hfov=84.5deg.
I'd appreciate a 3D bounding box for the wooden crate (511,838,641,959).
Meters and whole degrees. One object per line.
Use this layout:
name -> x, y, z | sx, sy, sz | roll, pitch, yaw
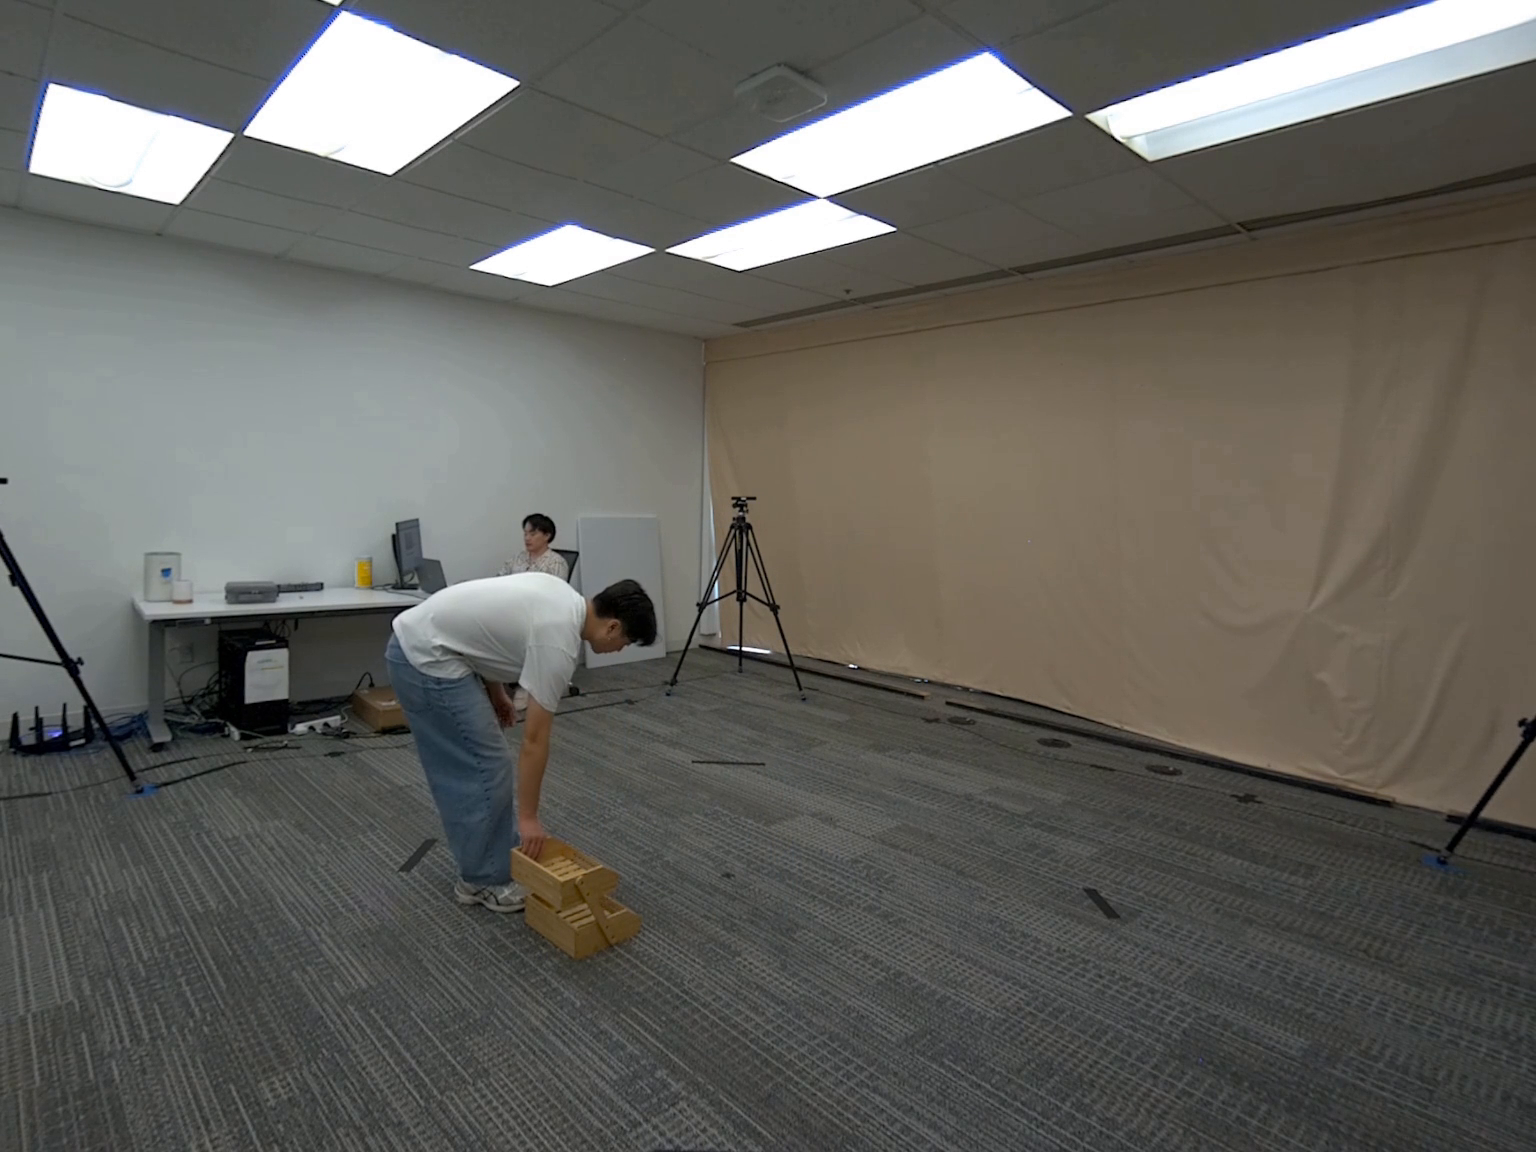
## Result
wooden crate -> -0.616, 1.002, 2.682 | 0.295, 0.272, 0.333 | -4, 7, -44
